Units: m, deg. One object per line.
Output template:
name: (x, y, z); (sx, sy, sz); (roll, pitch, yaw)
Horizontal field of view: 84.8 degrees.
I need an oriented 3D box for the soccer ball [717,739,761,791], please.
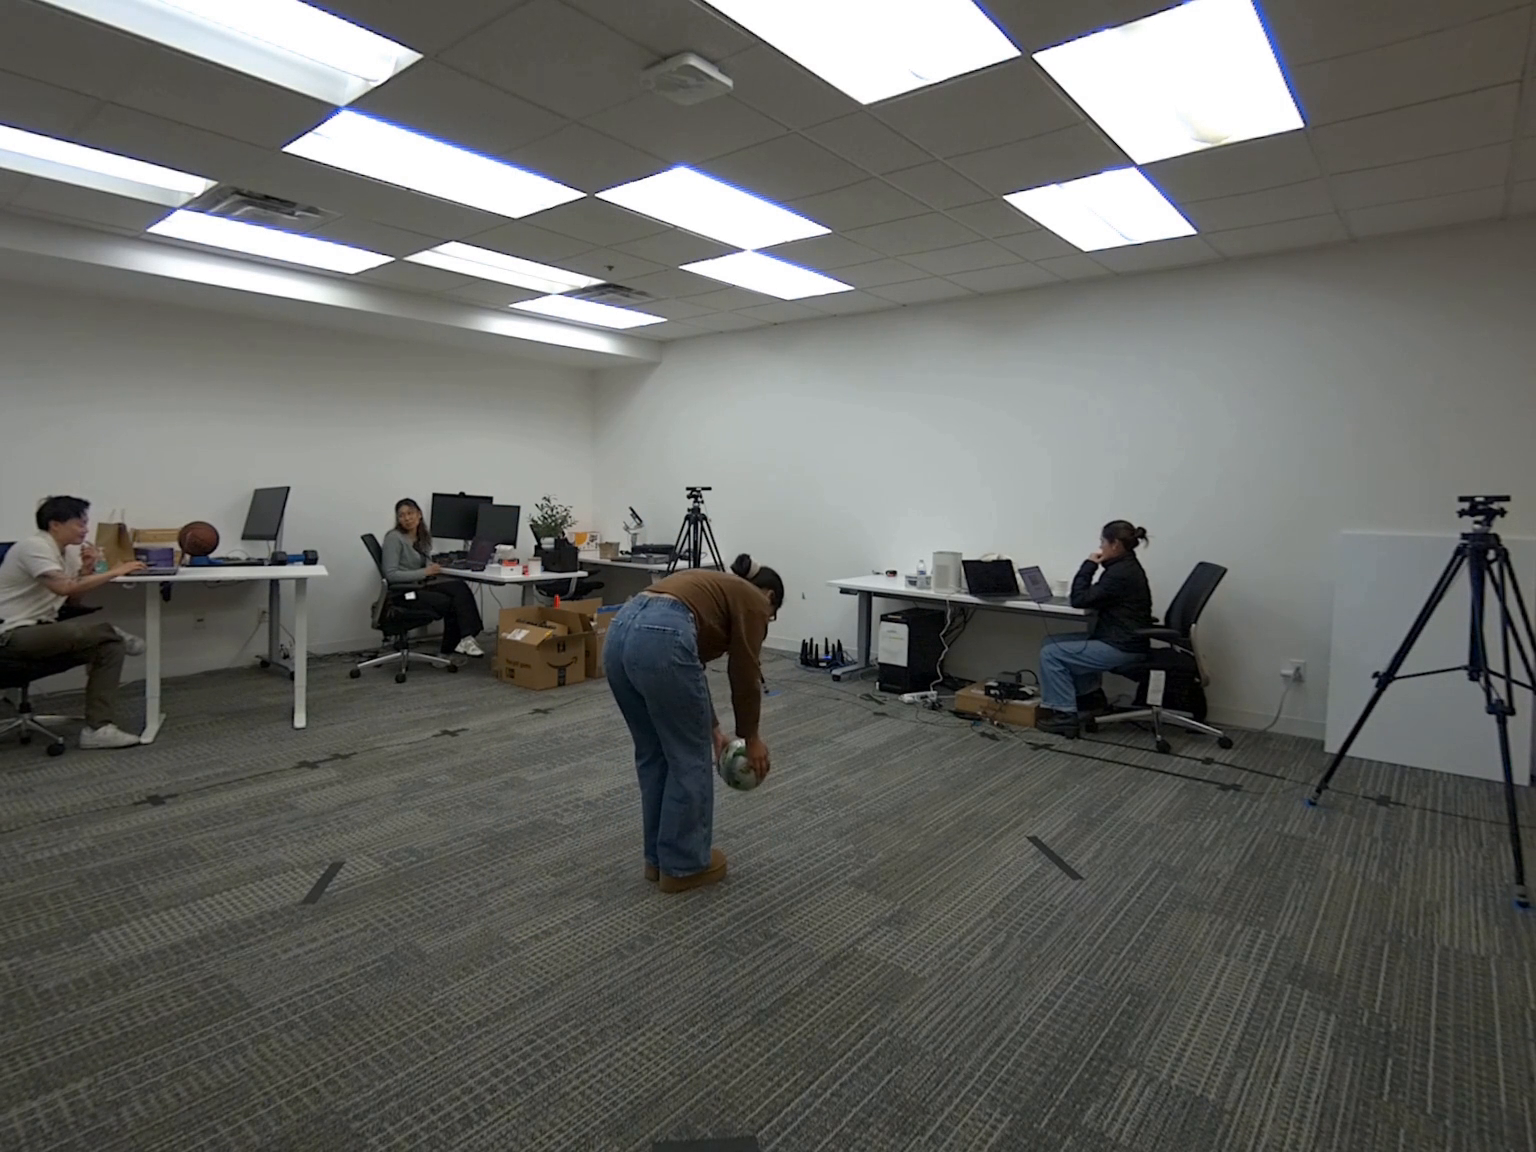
soccer ball: (-0.100, 0.702, 3.180); (0.187, 0.187, 0.188); (1, 4, -2)
